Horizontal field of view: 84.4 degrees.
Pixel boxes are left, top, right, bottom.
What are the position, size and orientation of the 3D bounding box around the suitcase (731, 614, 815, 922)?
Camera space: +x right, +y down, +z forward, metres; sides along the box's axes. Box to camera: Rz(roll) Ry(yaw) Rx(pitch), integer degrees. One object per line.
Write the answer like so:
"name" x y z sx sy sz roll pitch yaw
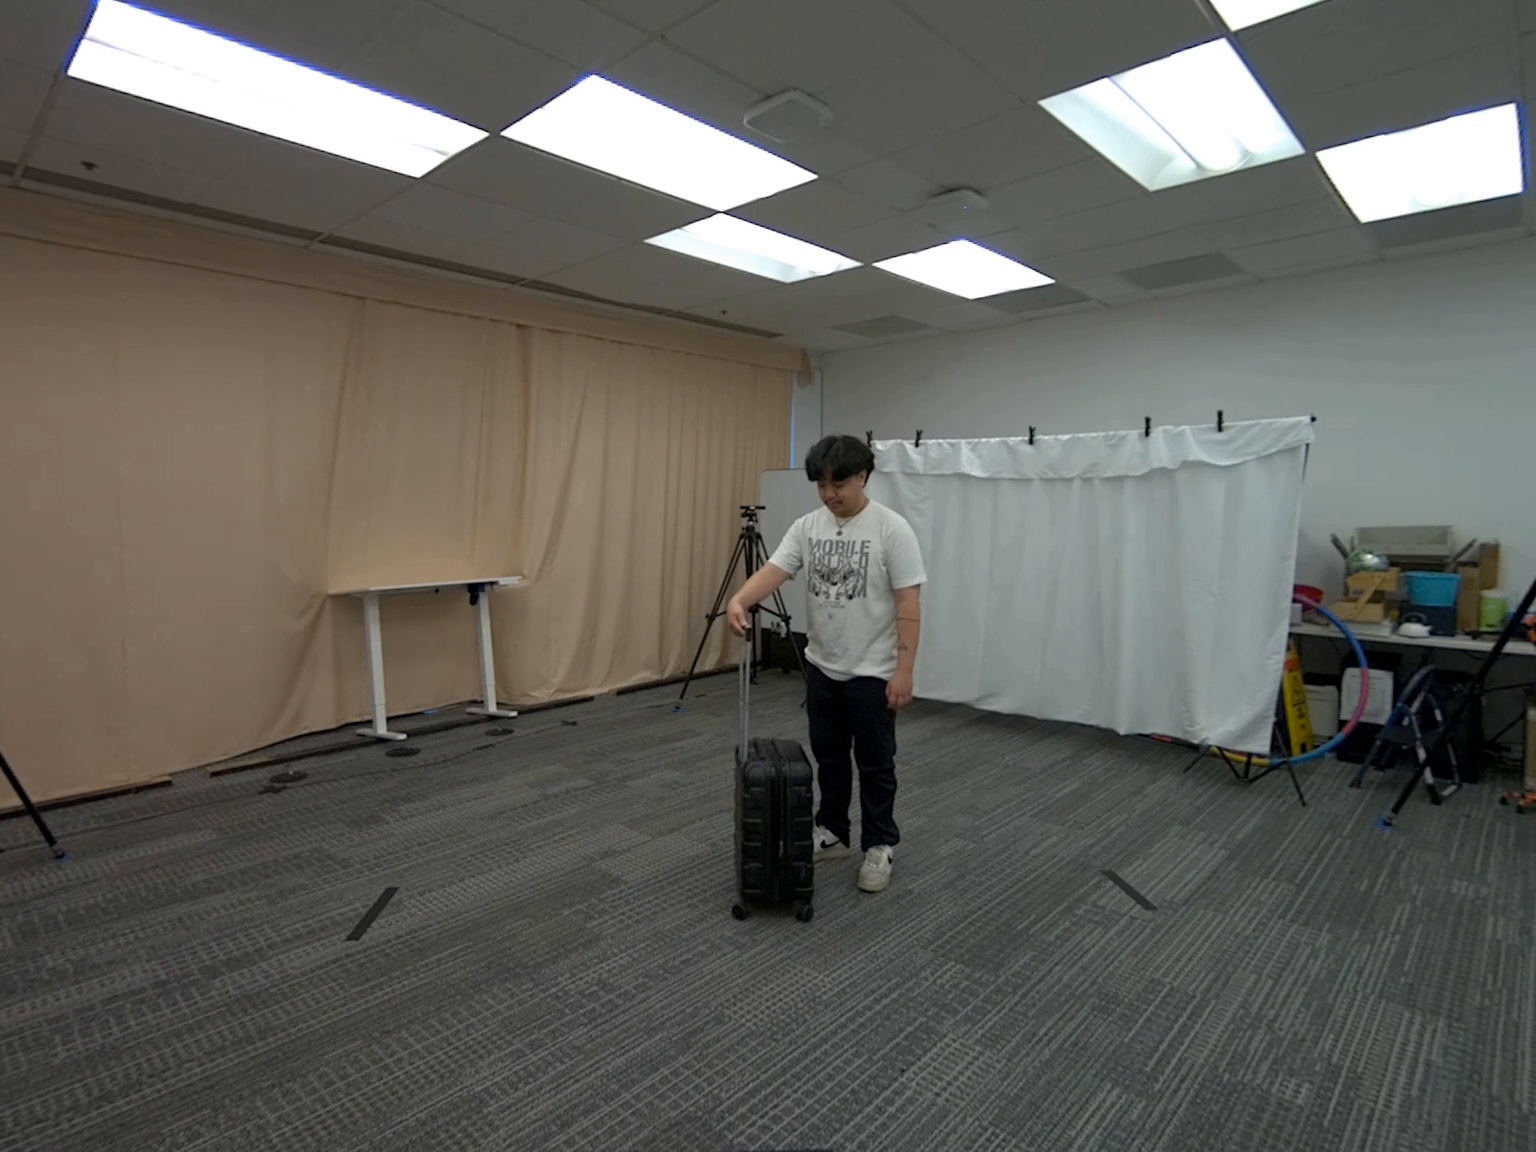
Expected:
"suitcase" 0.023 0.673 2.963 0.256 0.977 0.386 1 3 -3
